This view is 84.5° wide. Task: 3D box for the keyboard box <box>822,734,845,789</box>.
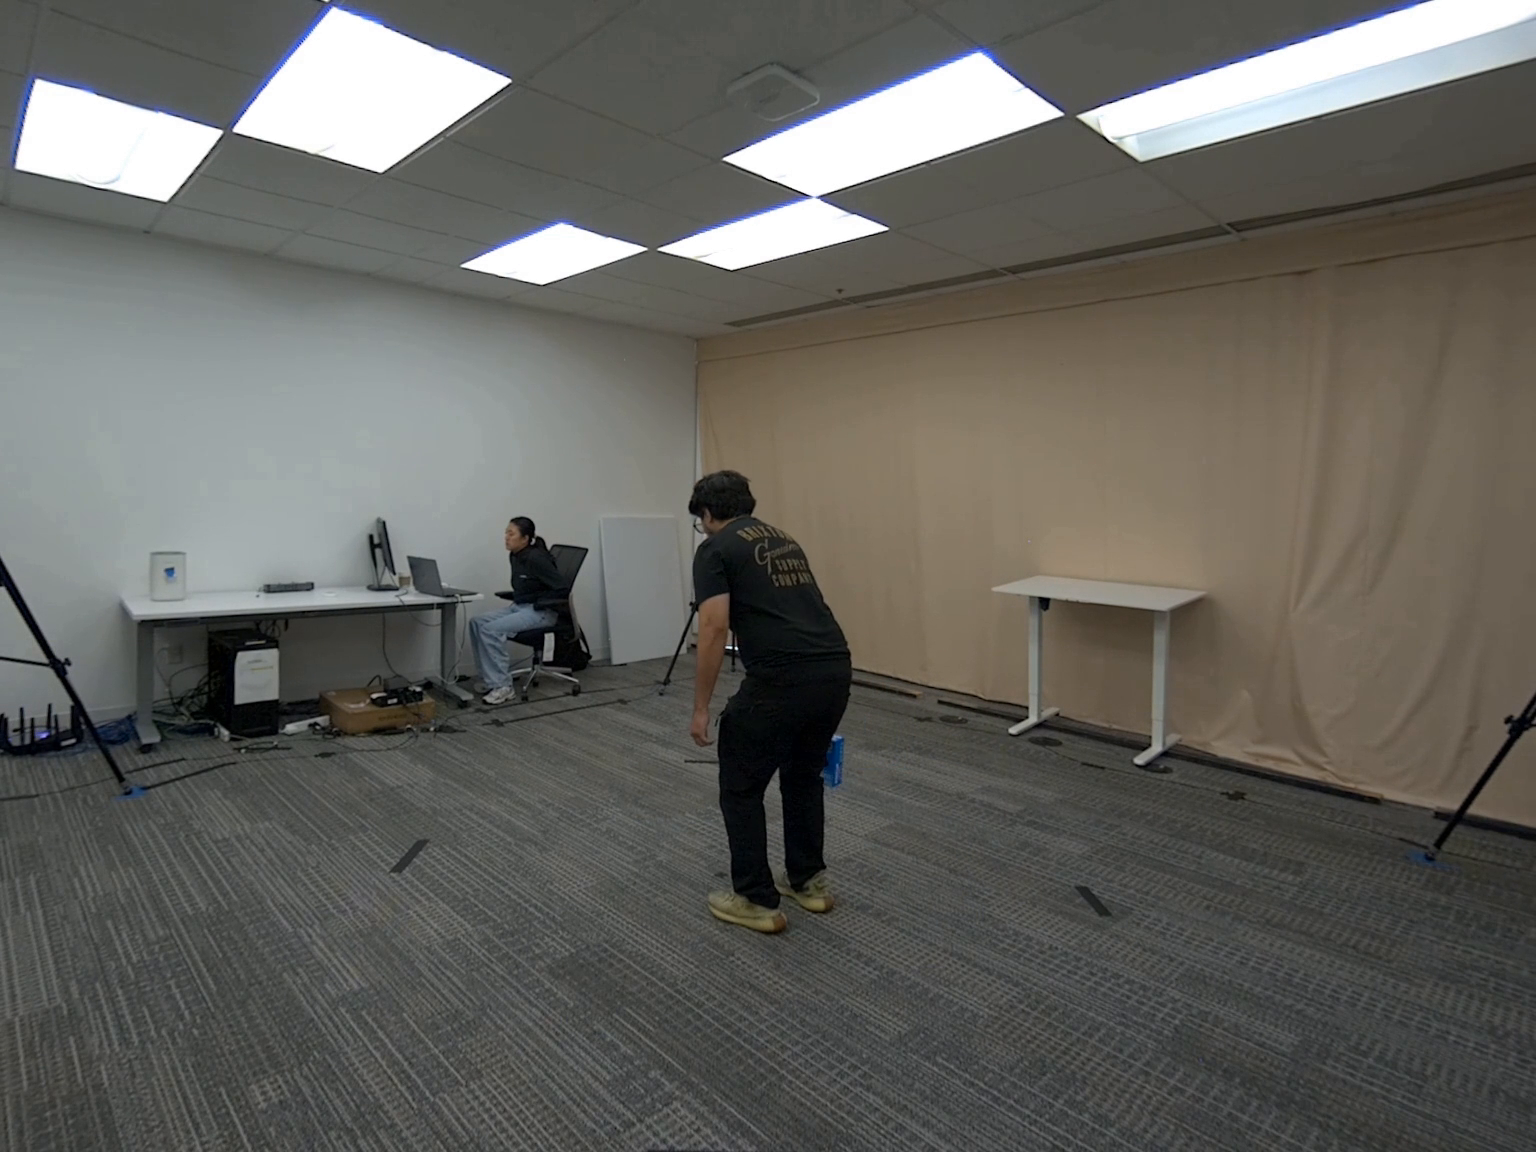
[{"bbox_3d":[0.082,0.646,3.137,0.448,0.175,0.058,9,8,39],"label":"keyboard box"}]
